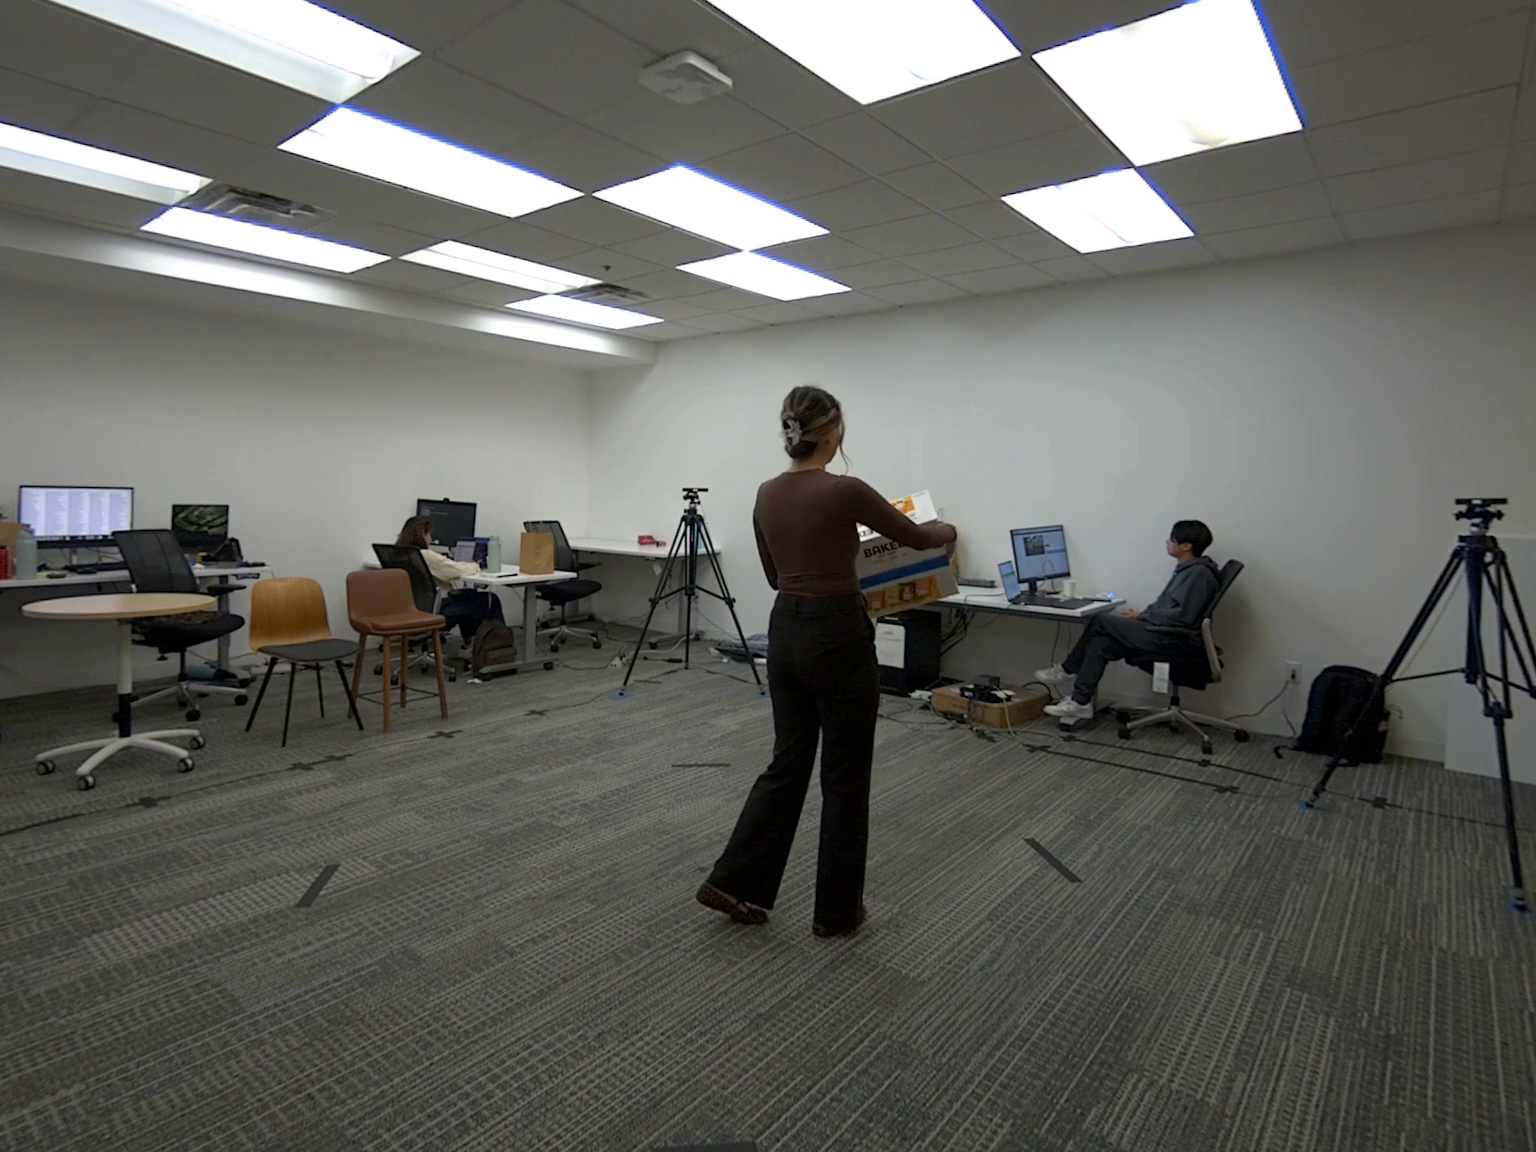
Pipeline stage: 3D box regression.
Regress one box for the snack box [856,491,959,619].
[{"bbox_3d":[0.433,-0.074,3.100,0.409,0.329,0.211,-17,32,12],"label":"snack box"}]
